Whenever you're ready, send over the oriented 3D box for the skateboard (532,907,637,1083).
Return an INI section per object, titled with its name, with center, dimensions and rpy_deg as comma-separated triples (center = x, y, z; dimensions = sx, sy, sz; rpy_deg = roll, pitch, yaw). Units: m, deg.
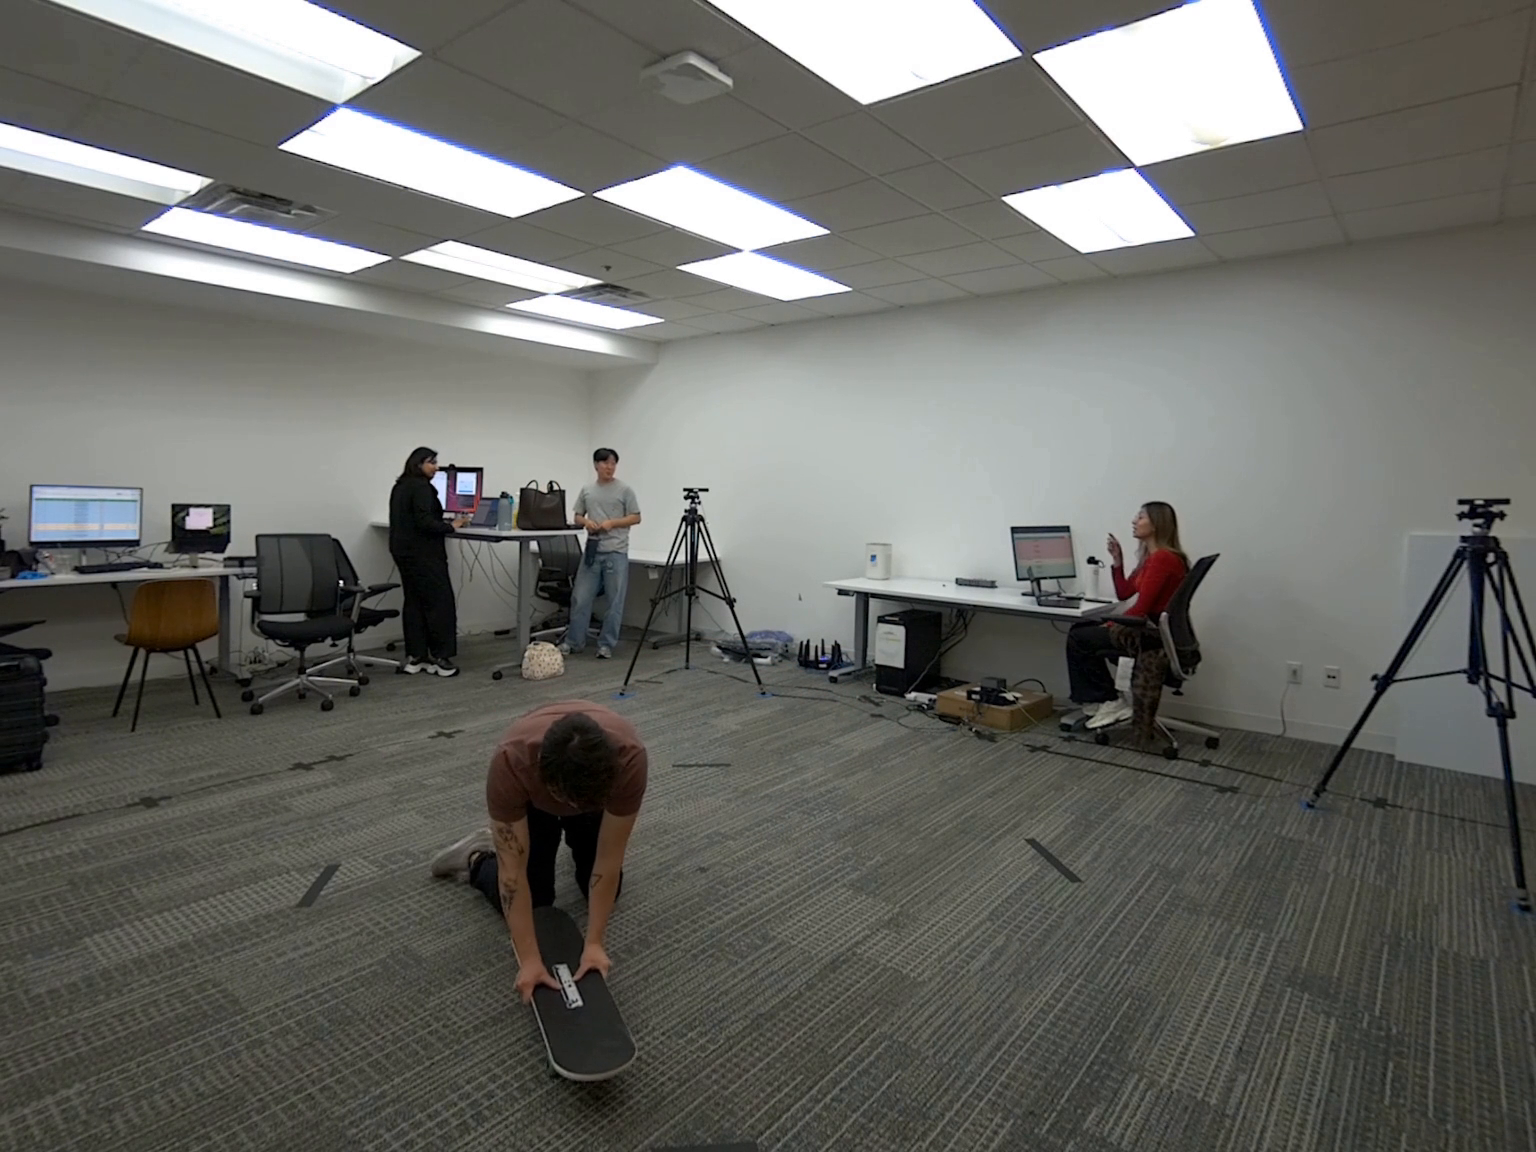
[skateboard]
center = -0.528, 1.097, 2.225
dimensions = 0.189, 0.110, 0.807
rpy_deg = -2, 7, -25
